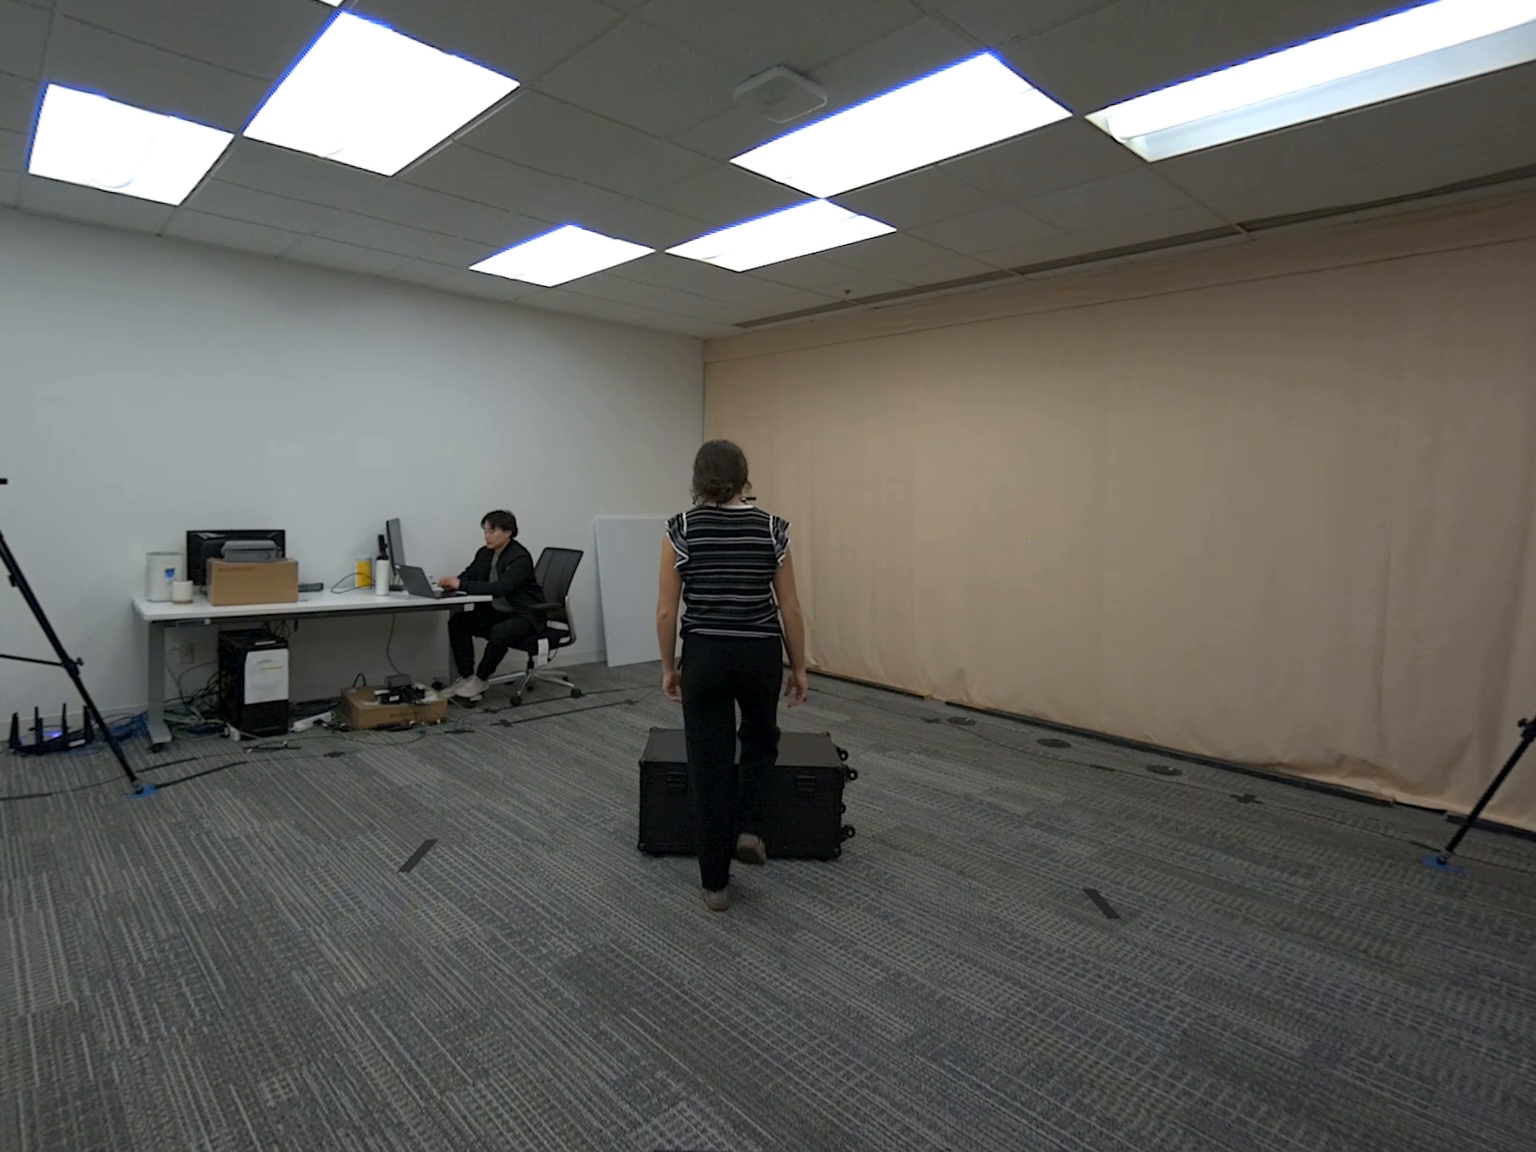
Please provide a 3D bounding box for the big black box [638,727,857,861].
[{"bbox_3d":[-0.090,0.885,3.464,0.861,0.395,0.523,1,4,-1],"label":"big black box"}]
